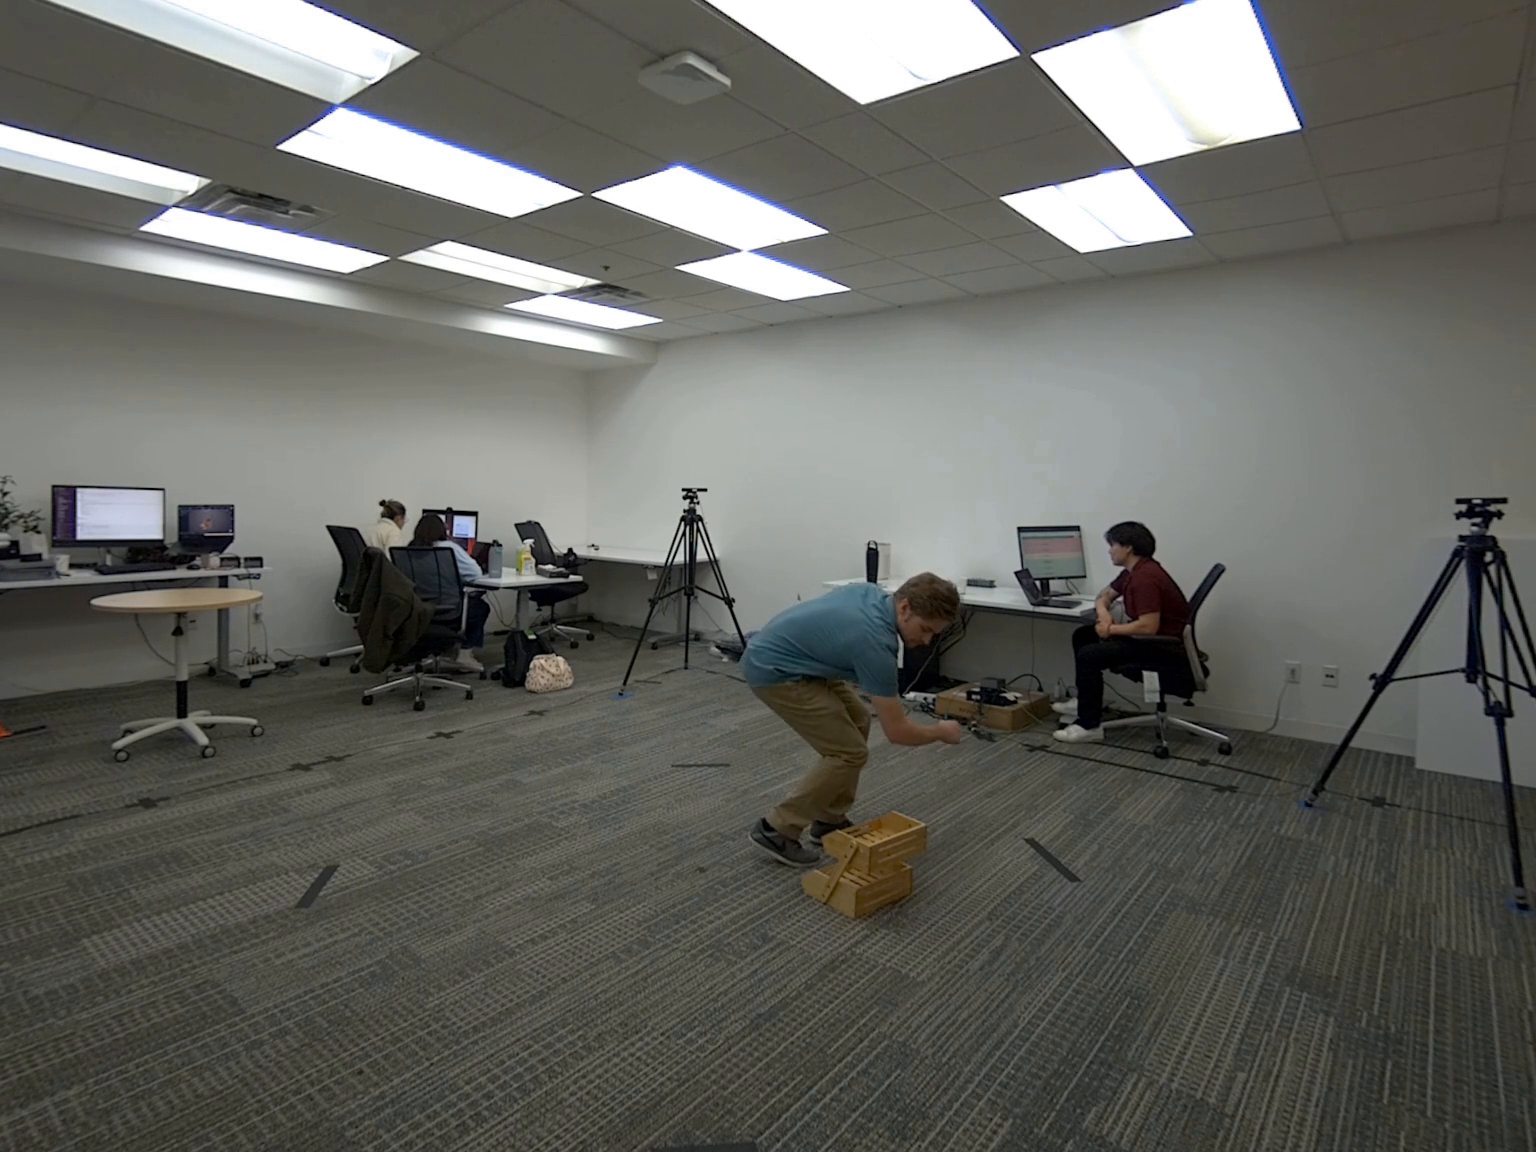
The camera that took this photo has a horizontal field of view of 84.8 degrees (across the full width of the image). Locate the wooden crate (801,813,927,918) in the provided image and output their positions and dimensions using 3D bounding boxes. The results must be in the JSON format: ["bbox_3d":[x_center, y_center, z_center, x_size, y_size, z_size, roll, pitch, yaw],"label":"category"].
[{"bbox_3d":[0.323,0.964,2.940,0.314,0.272,0.312,-2,7,-42],"label":"wooden crate"}]
